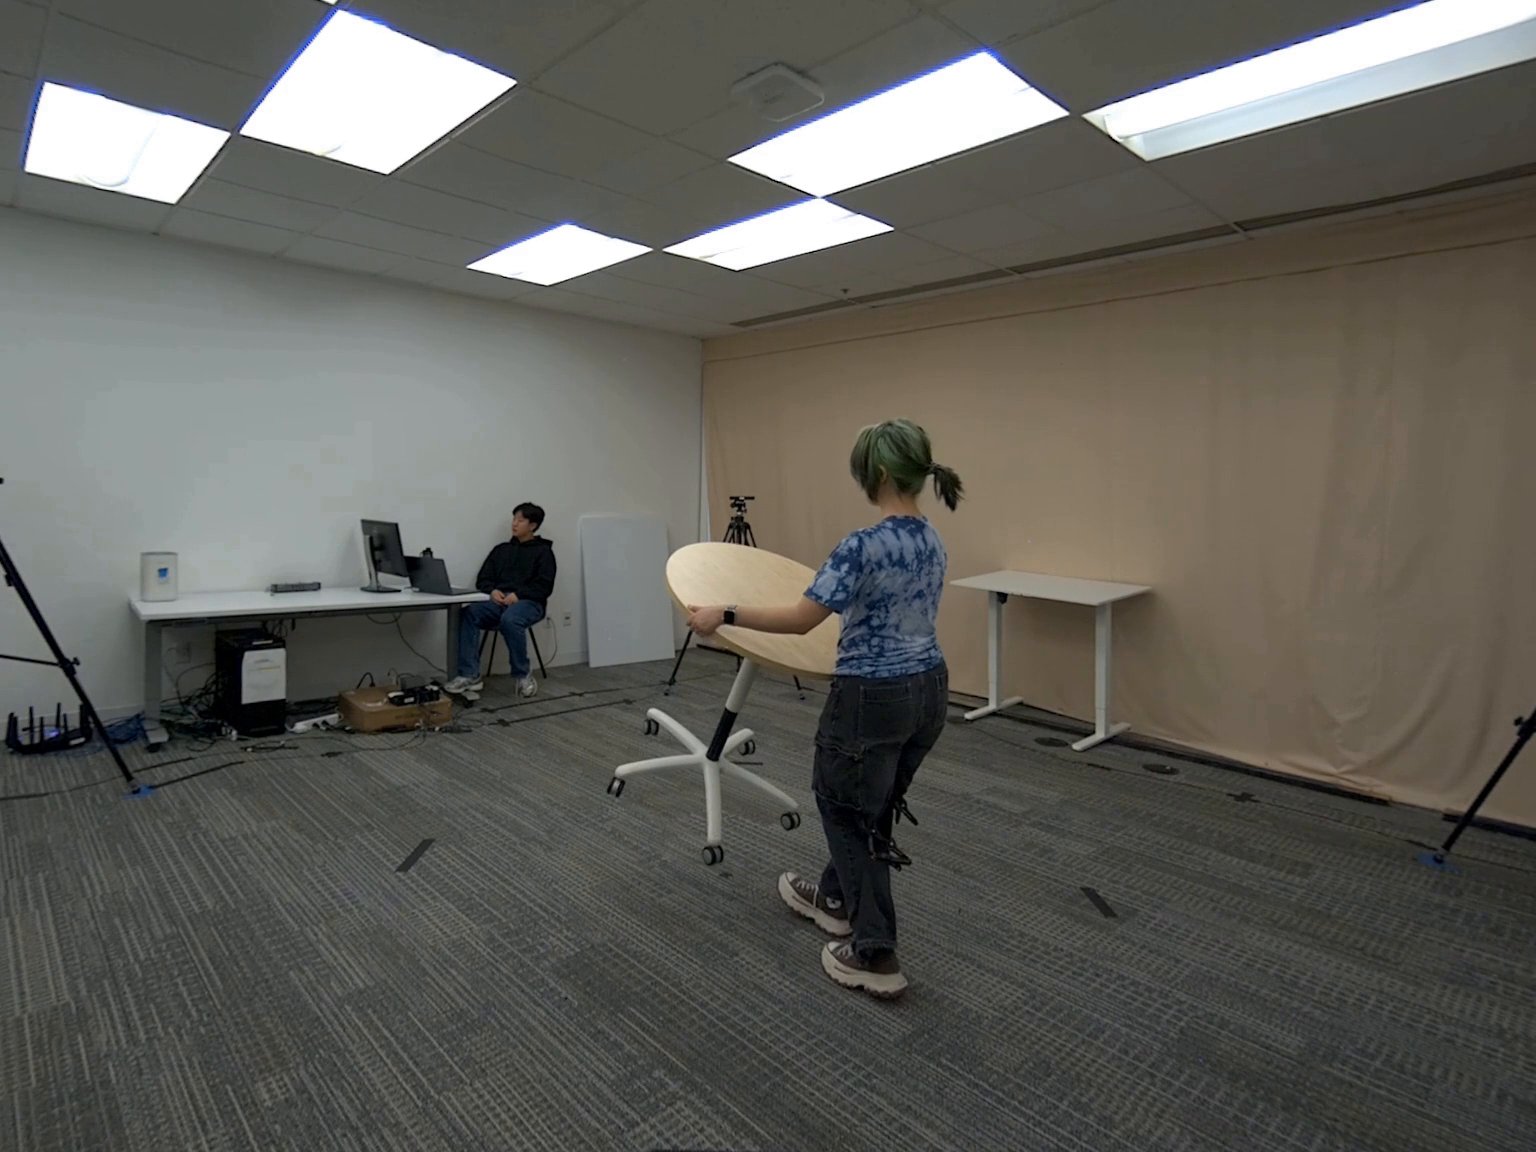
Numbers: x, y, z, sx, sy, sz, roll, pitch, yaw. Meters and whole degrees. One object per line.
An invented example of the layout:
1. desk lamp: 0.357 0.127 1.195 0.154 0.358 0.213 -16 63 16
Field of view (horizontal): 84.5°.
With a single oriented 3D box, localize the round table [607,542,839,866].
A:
1. round table: -0.116 0.427 2.902 0.758 0.787 0.777 18 23 -9
